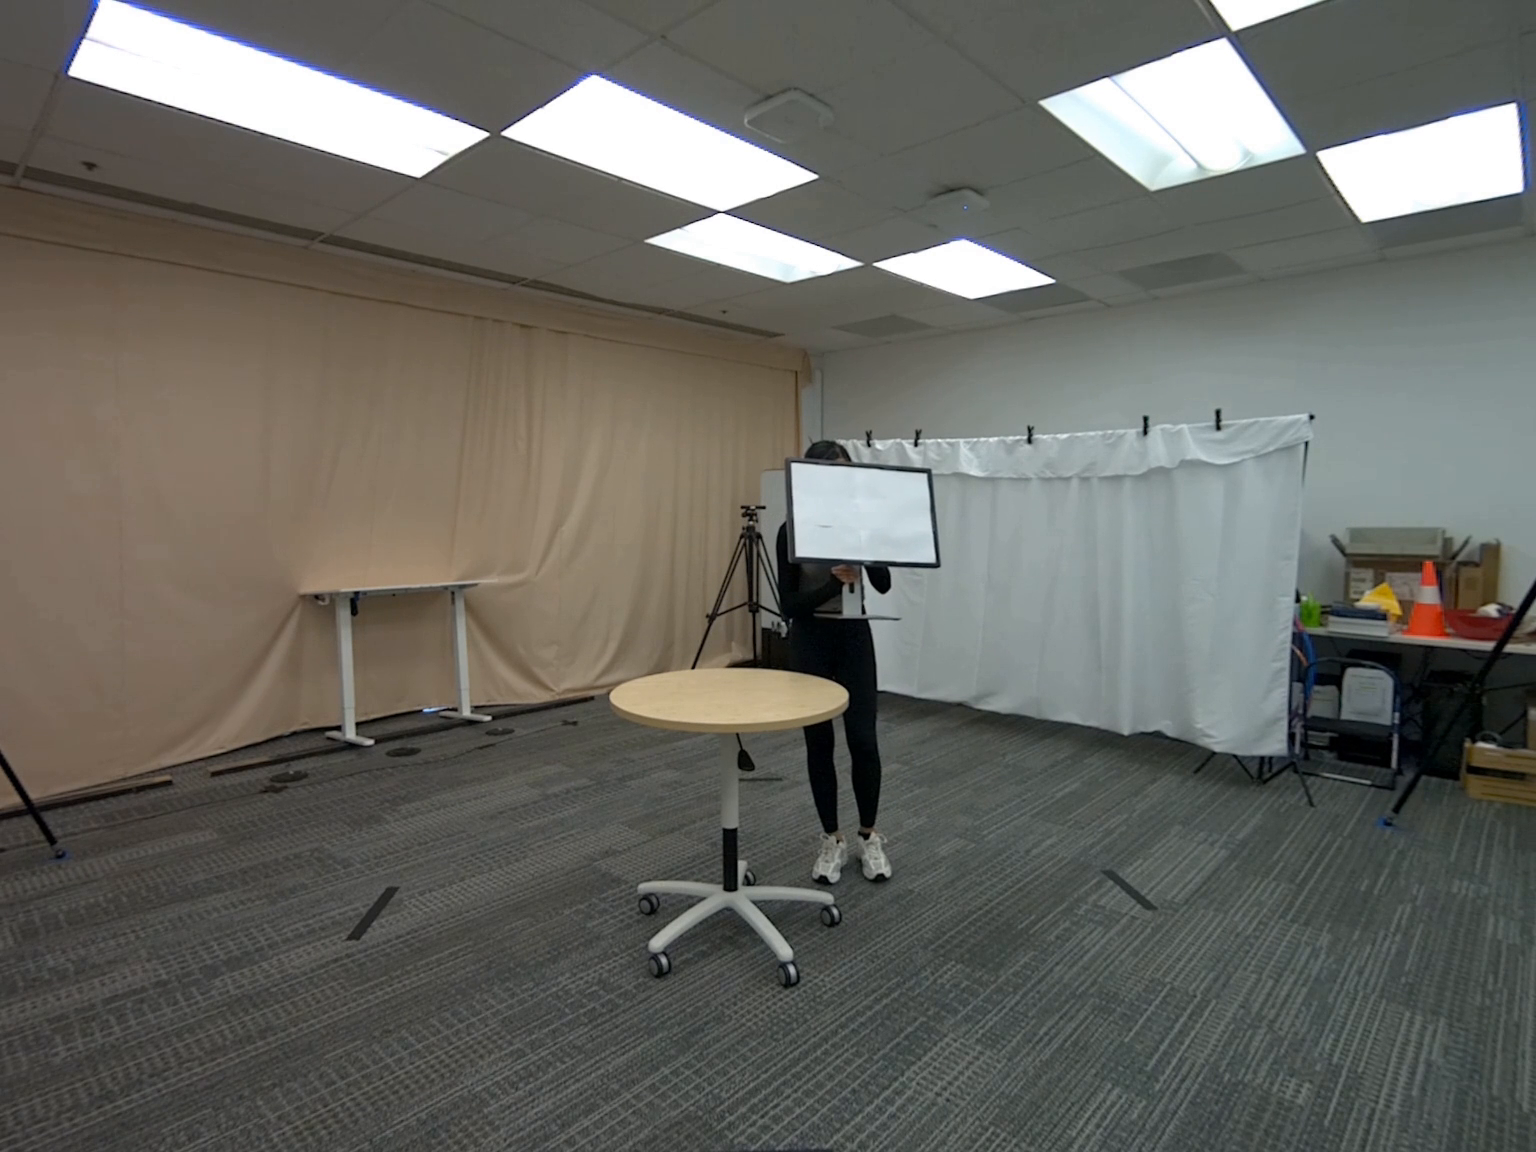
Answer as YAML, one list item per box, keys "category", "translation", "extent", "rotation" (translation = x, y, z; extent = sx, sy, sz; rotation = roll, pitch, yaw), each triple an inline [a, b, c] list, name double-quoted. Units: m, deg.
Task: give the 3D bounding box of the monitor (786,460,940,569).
- category: "monitor"
  translation: [0.314, -0.120, 2.922]
  extent: [0.528, 0.523, 0.190]
  rotation: [2, -2, -19]
